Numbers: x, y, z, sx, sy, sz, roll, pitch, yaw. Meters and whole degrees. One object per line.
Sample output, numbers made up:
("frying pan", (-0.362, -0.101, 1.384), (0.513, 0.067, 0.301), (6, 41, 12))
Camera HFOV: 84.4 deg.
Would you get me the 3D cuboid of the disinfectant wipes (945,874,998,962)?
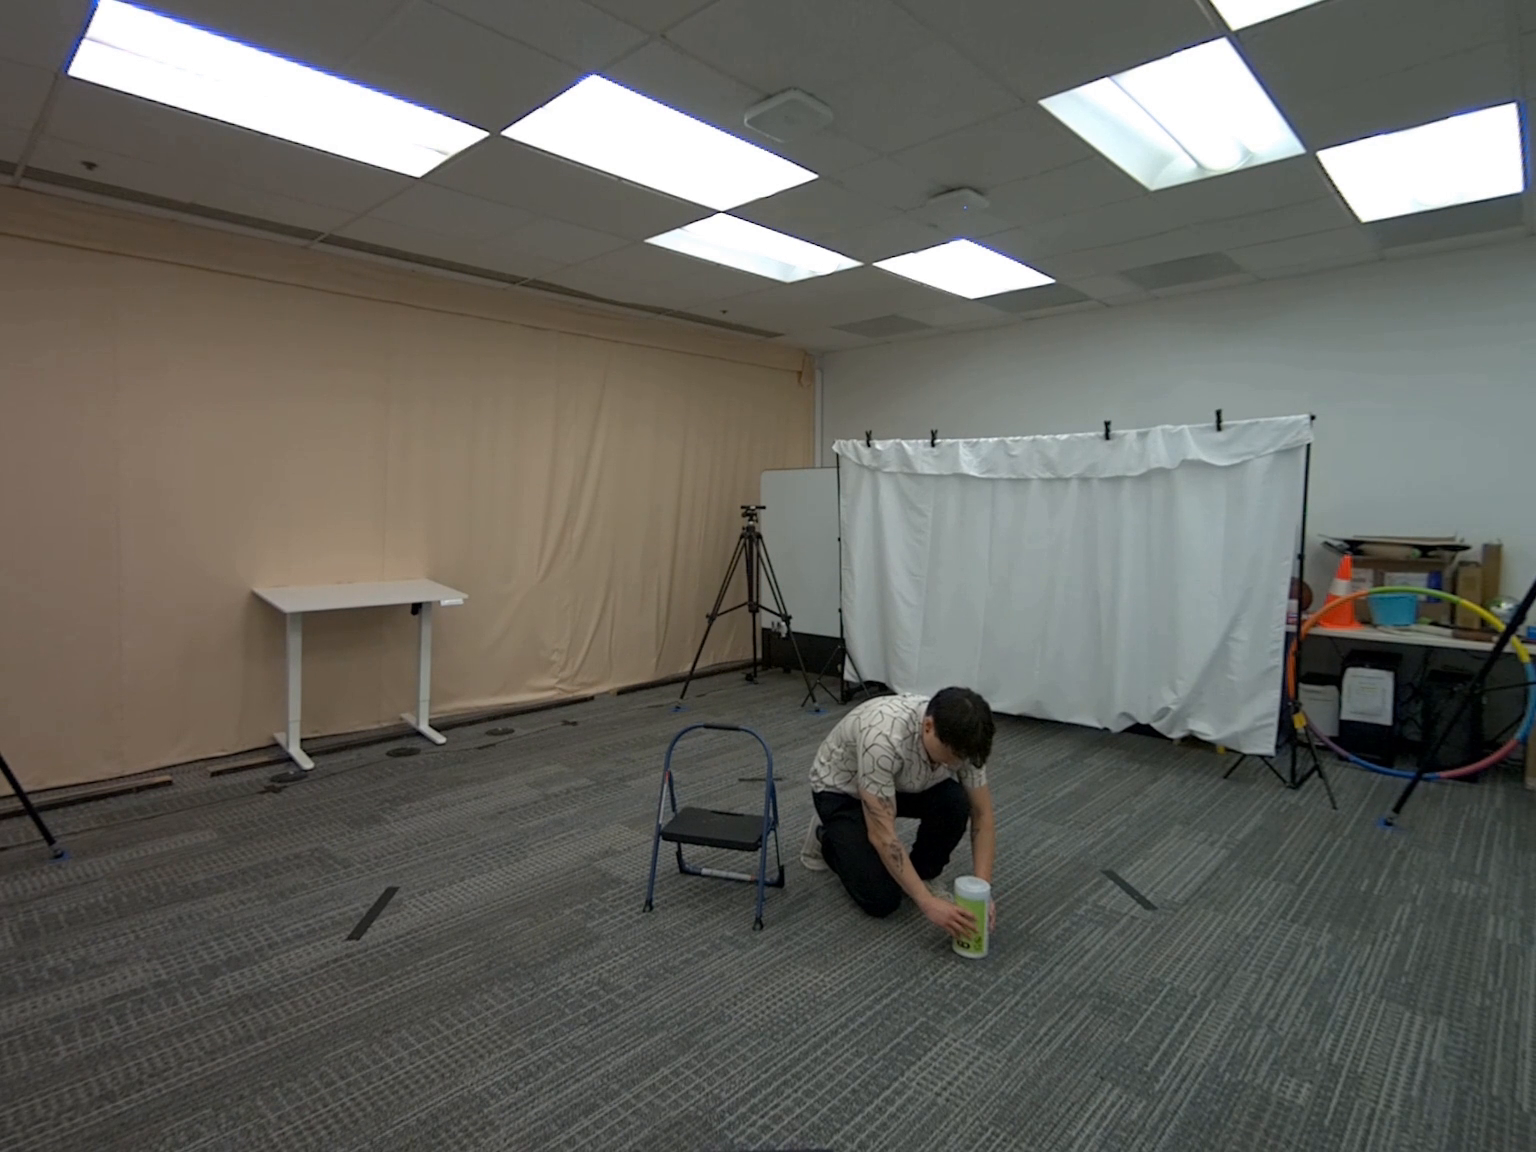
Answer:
("disinfectant wipes", (0.628, 1.057, 2.628), (0.117, 0.217, 0.118), (1, 4, -2))
